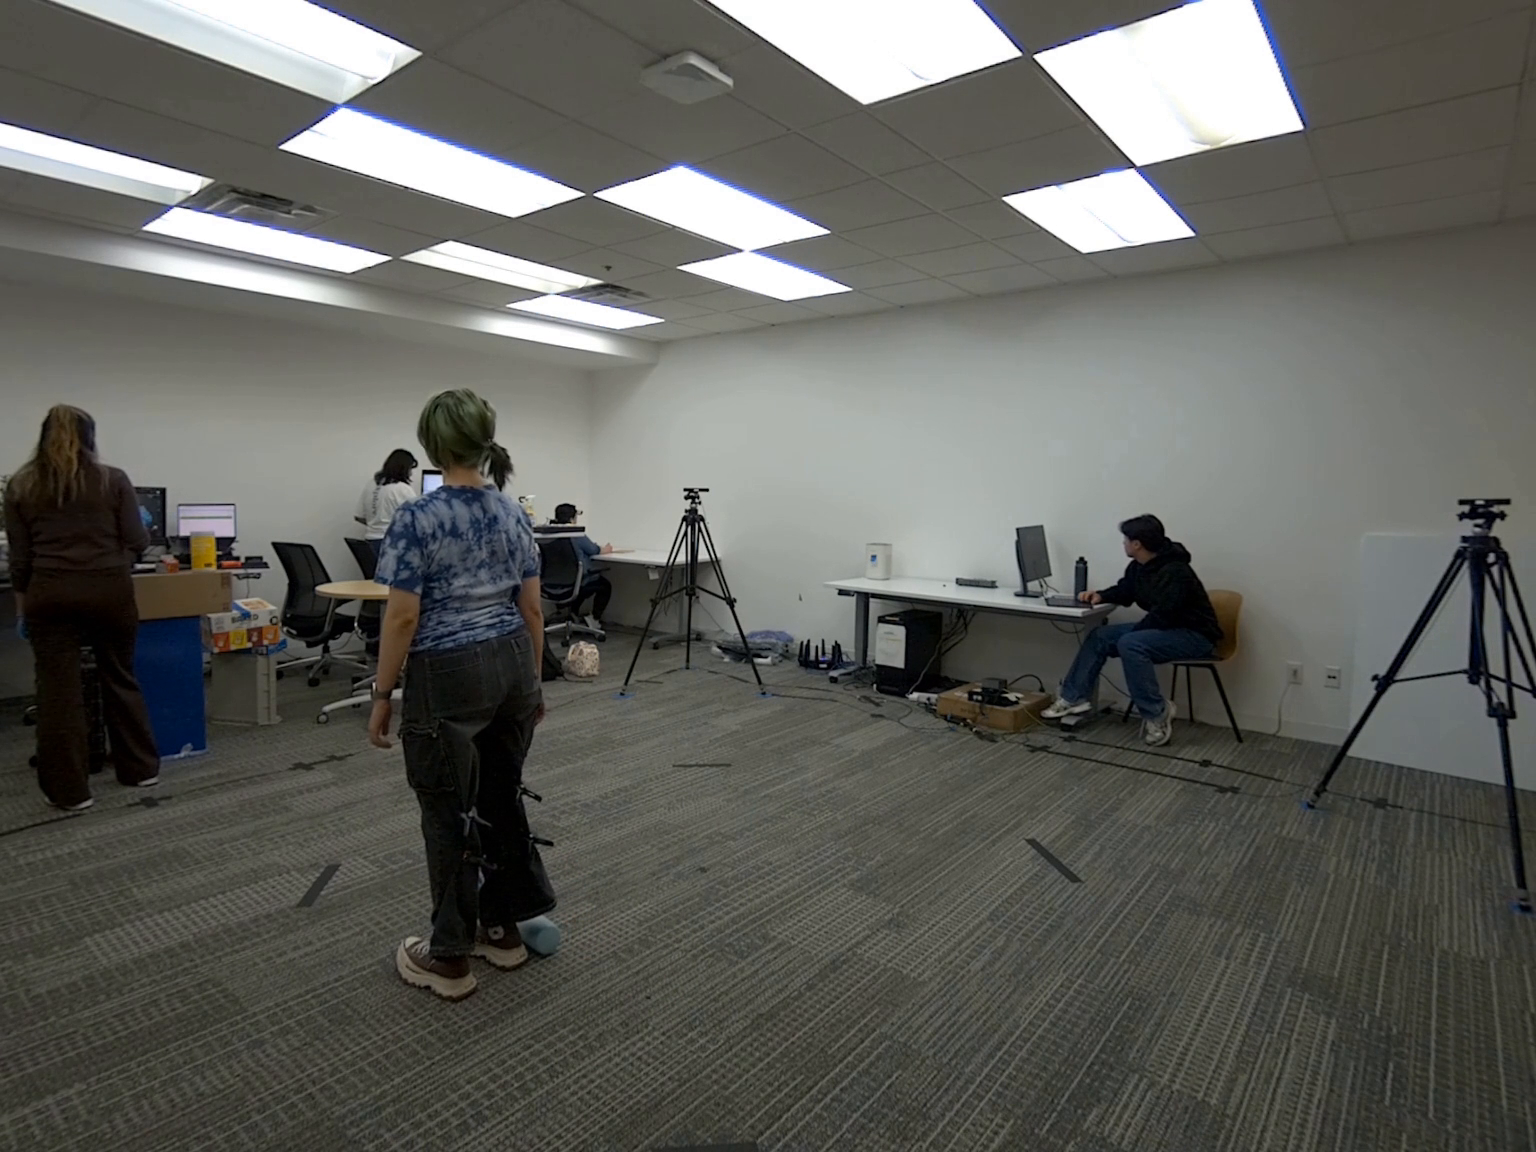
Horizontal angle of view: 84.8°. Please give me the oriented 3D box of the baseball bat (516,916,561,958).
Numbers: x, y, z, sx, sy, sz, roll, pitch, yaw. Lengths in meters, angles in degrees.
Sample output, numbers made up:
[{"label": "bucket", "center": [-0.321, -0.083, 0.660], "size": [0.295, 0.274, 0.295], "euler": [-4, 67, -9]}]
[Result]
[{"label": "baseball bat", "center": [-0.840, 1.066, 2.701], "size": [0.086, 0.089, 0.561], "euler": [-3, 4, -43]}]
